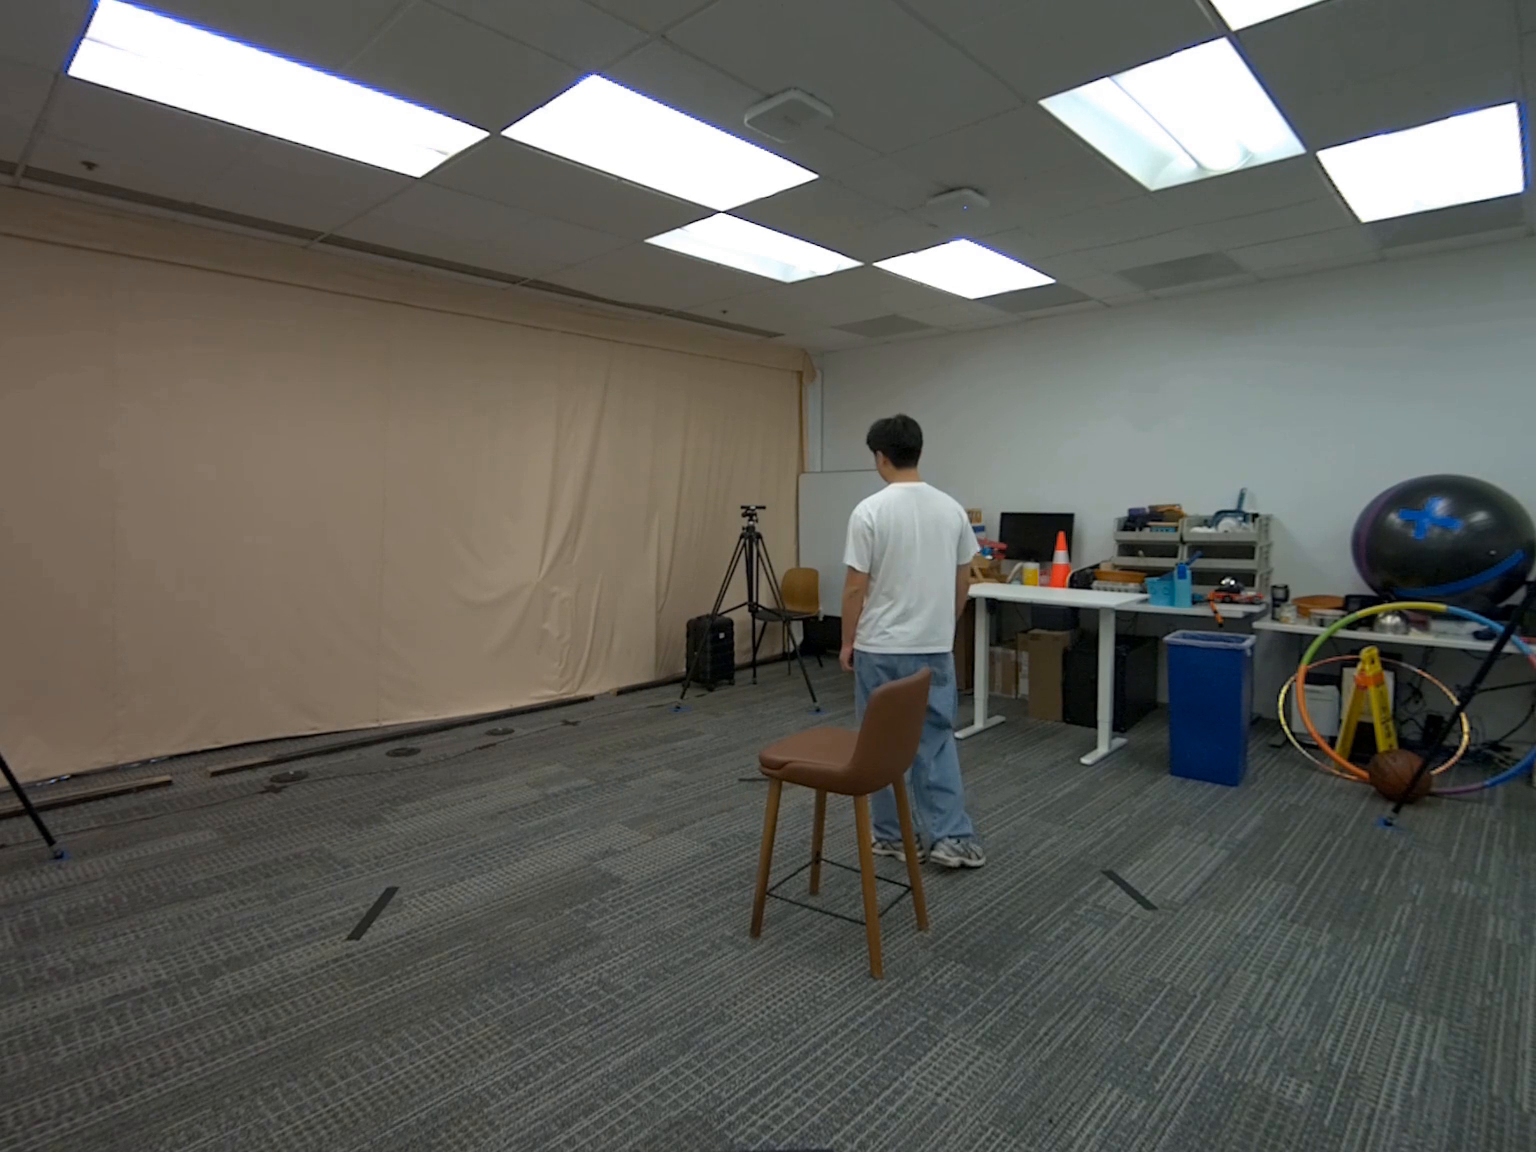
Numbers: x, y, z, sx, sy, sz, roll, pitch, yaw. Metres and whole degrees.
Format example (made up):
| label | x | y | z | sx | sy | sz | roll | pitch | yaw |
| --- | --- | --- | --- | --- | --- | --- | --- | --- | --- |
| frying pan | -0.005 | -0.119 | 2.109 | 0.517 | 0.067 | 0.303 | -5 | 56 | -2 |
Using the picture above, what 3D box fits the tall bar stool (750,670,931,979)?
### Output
| label | x | y | z | sx | sy | sz | roll | pitch | yaw |
| --- | --- | --- | --- | --- | --- | --- | --- | --- | --- |
| tall bar stool | 0.244 | 0.729 | 2.721 | 0.483 | 0.887 | 0.443 | 5 | 6 | 35 |
